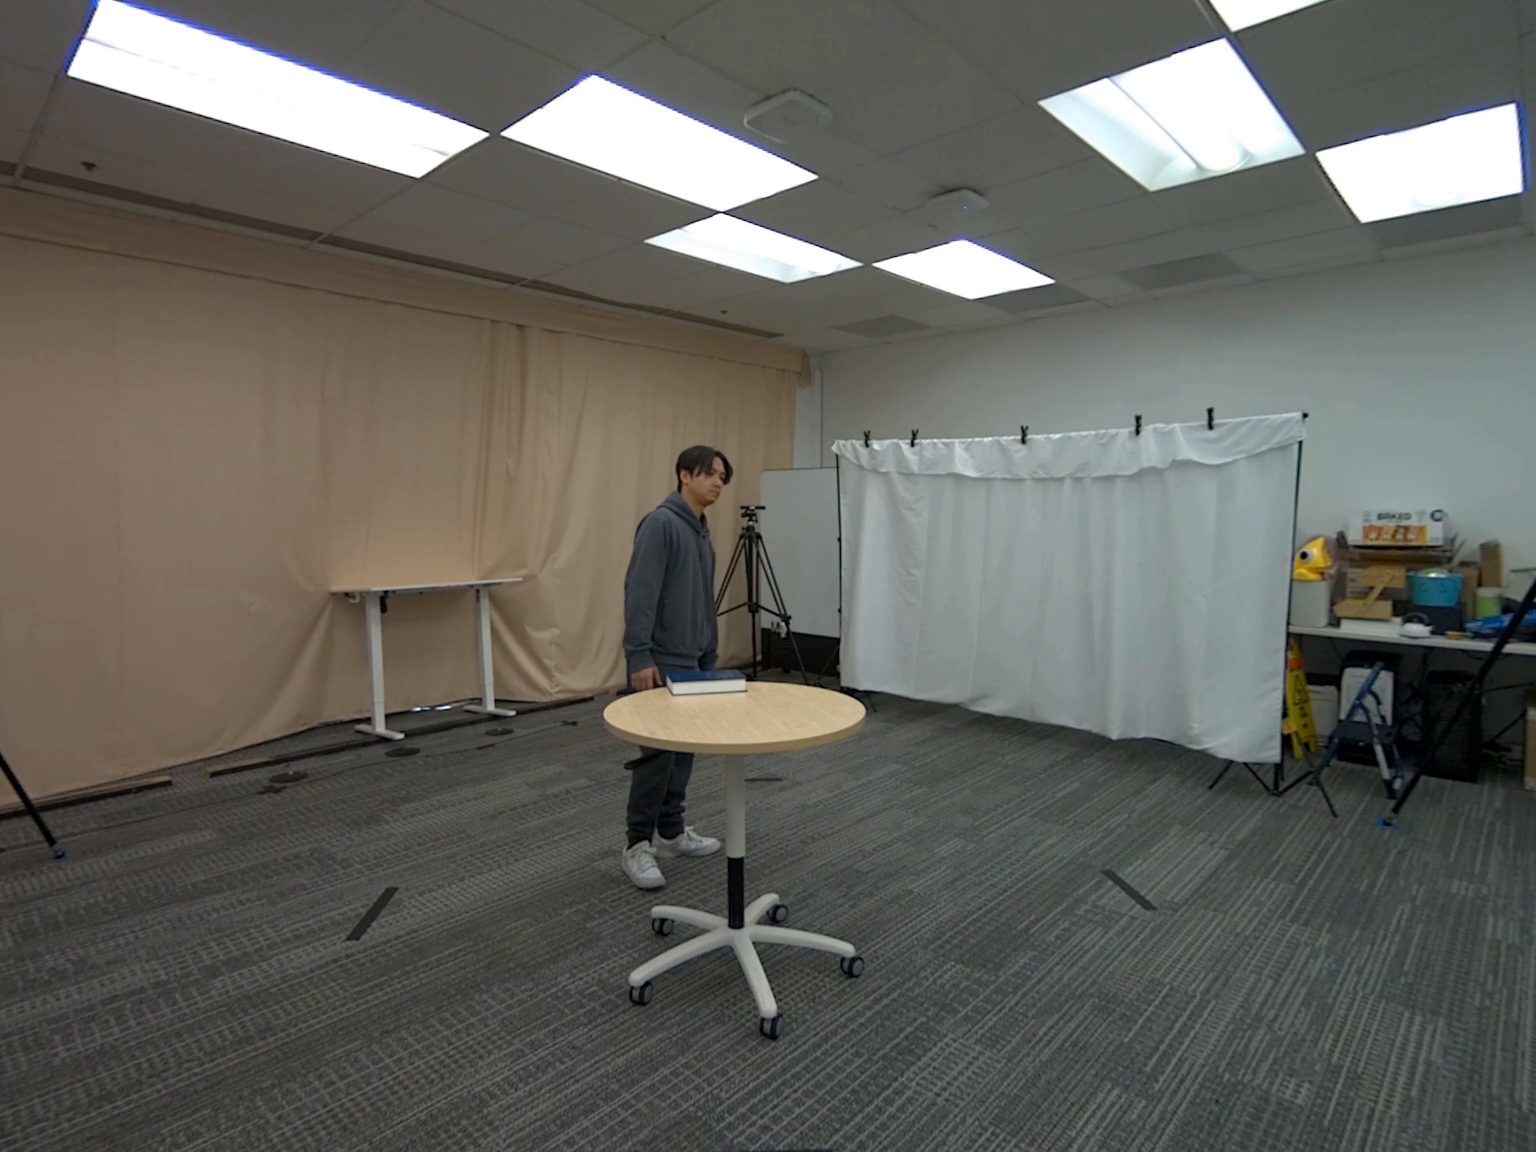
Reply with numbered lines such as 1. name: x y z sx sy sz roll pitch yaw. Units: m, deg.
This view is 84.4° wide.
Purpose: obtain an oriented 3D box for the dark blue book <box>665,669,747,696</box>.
1. dark blue book: -0.205 0.350 2.755 0.242 0.045 0.166 -1 5 -12
